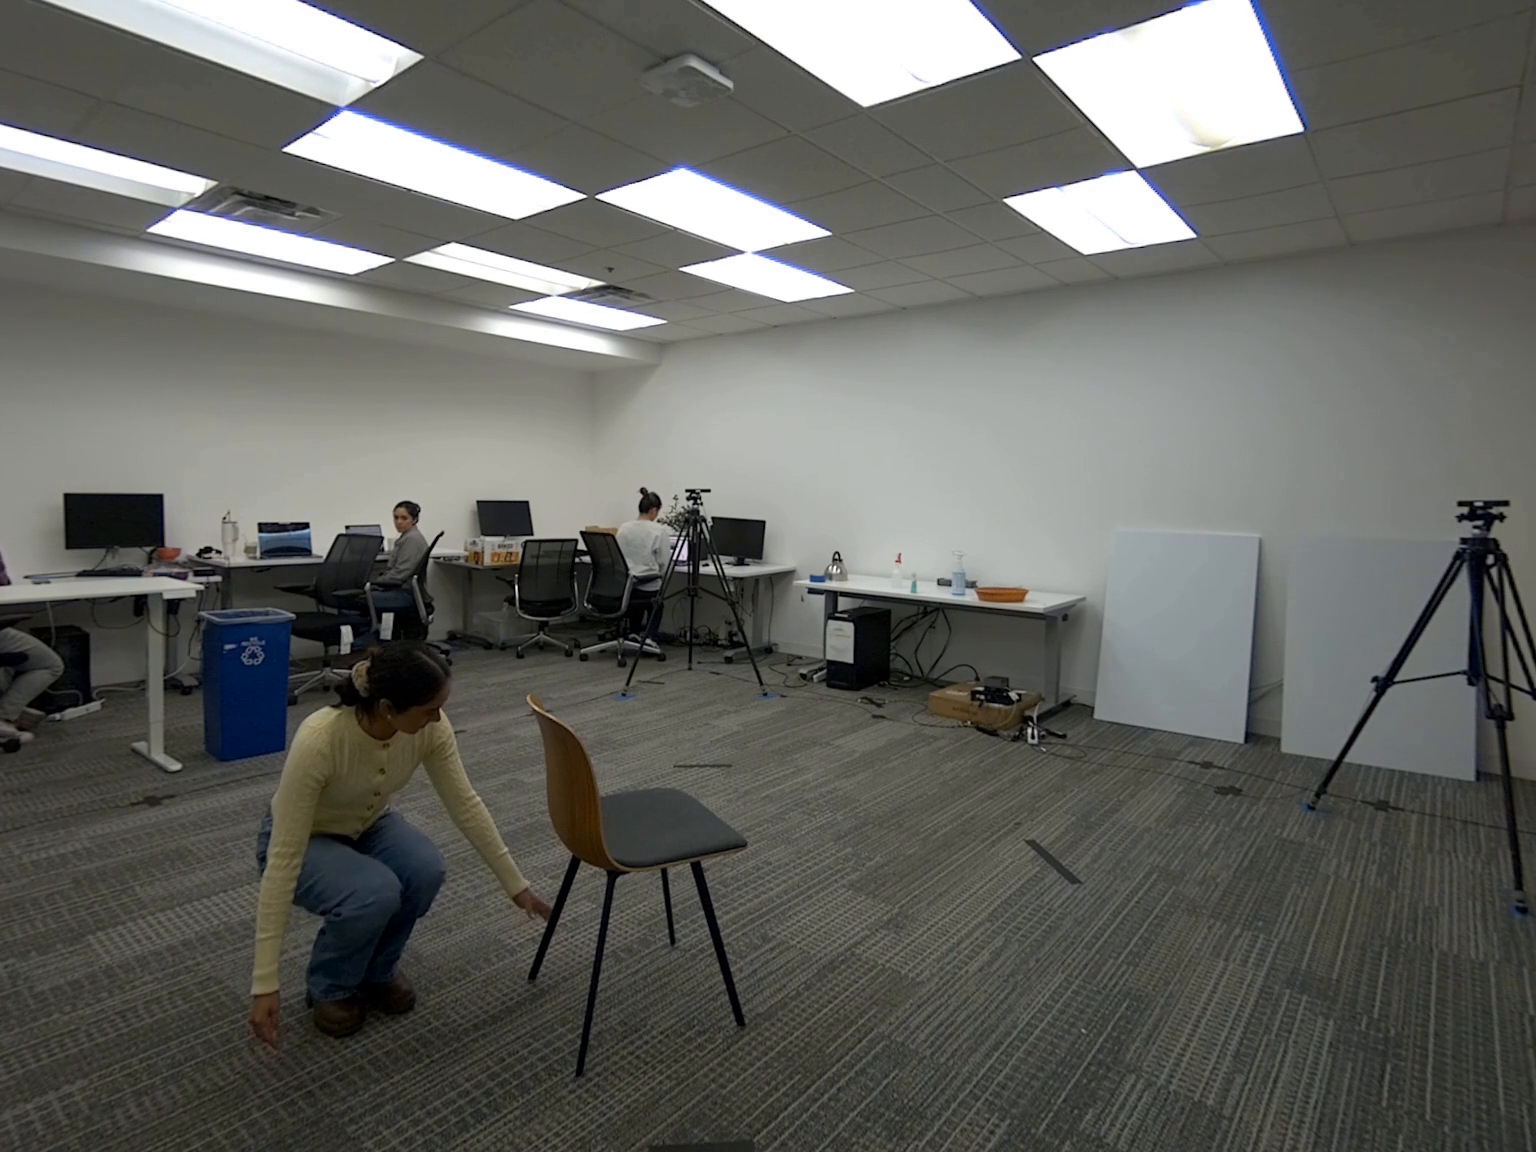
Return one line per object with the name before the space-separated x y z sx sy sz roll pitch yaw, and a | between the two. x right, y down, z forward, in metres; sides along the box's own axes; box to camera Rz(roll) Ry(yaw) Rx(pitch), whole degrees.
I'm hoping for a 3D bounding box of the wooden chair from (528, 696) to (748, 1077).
wooden chair | -0.359 0.727 2.282 0.511 0.873 0.492 -6 6 -29
